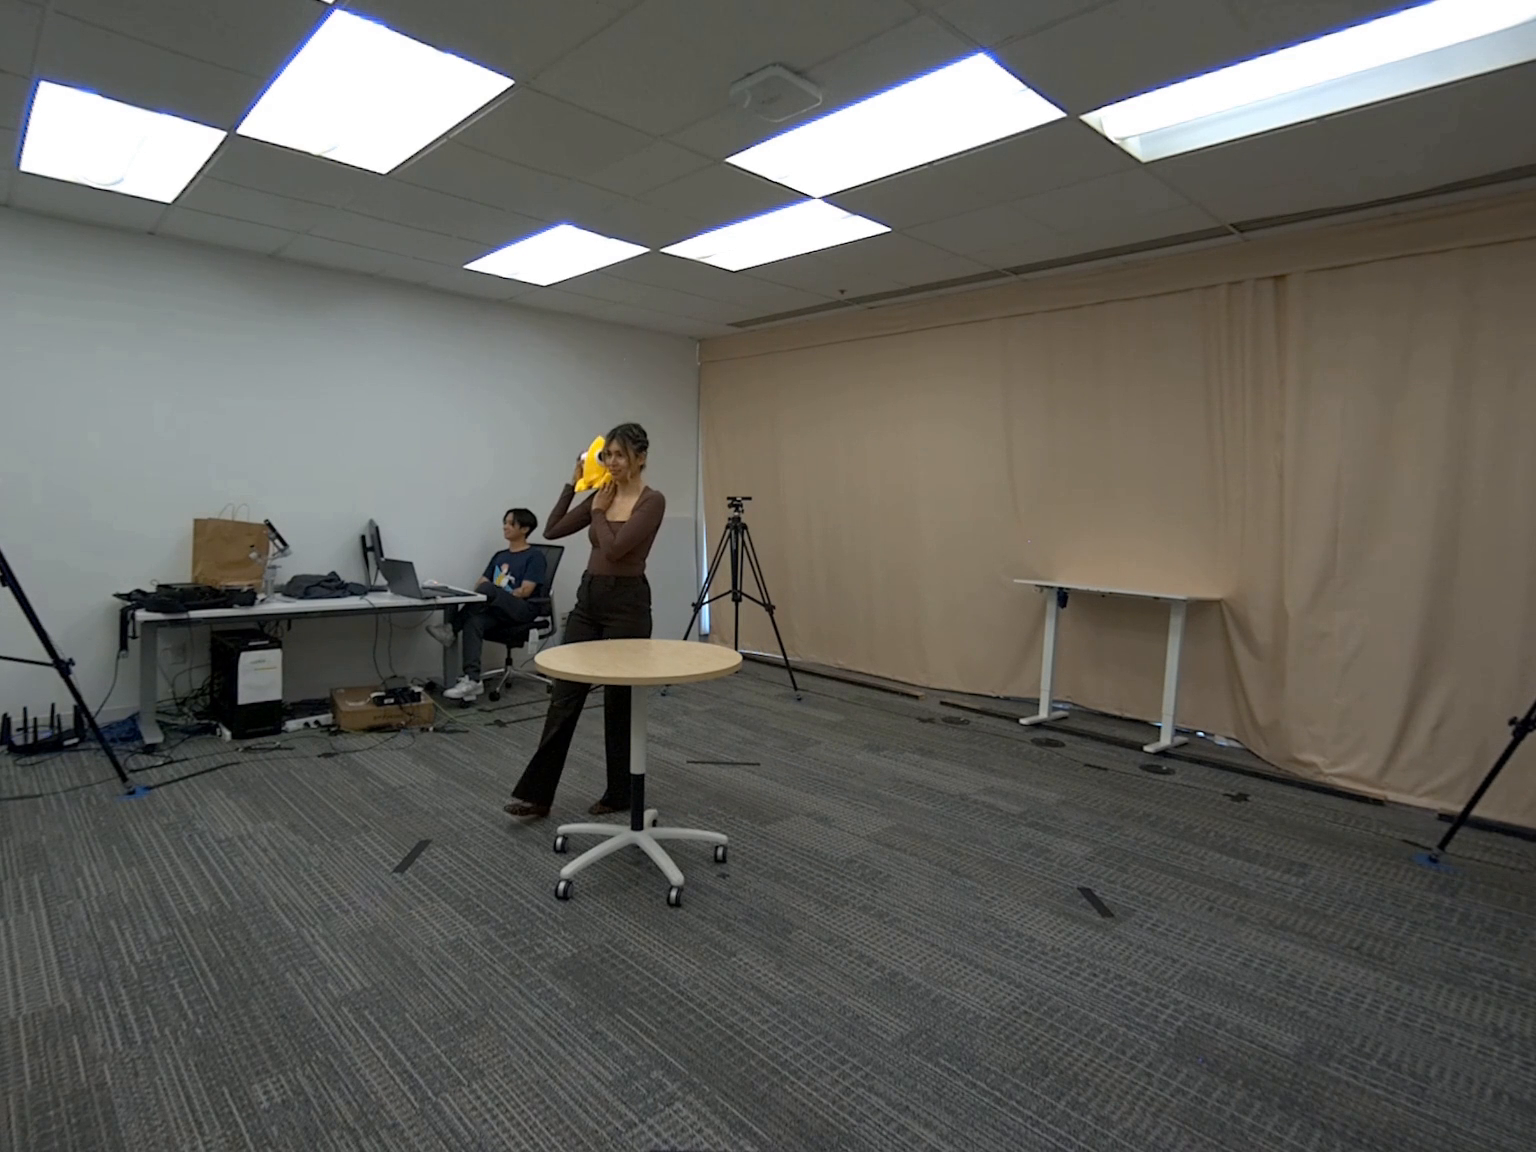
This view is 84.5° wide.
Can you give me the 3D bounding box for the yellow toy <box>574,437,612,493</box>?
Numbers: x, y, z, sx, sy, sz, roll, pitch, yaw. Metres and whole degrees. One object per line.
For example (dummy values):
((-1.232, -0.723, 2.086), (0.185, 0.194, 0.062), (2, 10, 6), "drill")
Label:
((-0.778, -0.508, 3.758), (0.209, 0.230, 0.190), (-7, 6, 33), "yellow toy")
